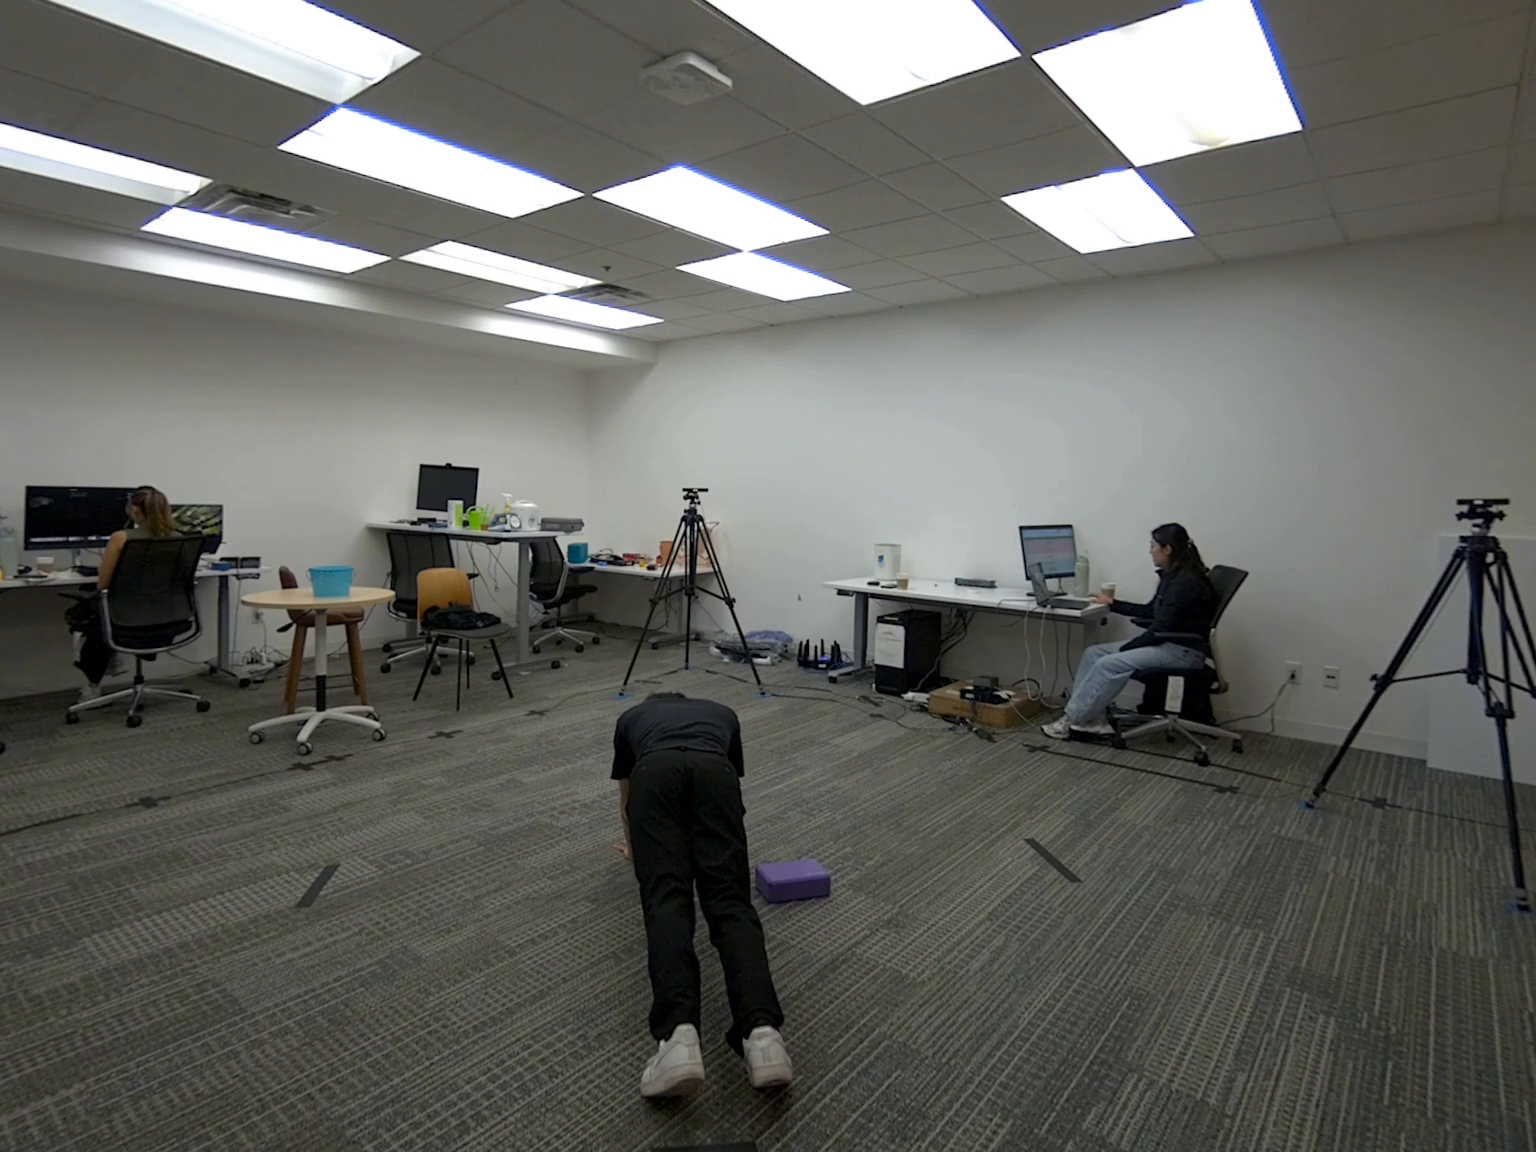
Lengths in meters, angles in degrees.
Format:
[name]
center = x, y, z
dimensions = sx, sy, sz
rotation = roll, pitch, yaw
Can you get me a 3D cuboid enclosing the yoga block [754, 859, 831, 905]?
[yoga block]
center = 0.080, 1.053, 2.953
dimensions = 0.225, 0.076, 0.152
rotation = -1, 5, -19
